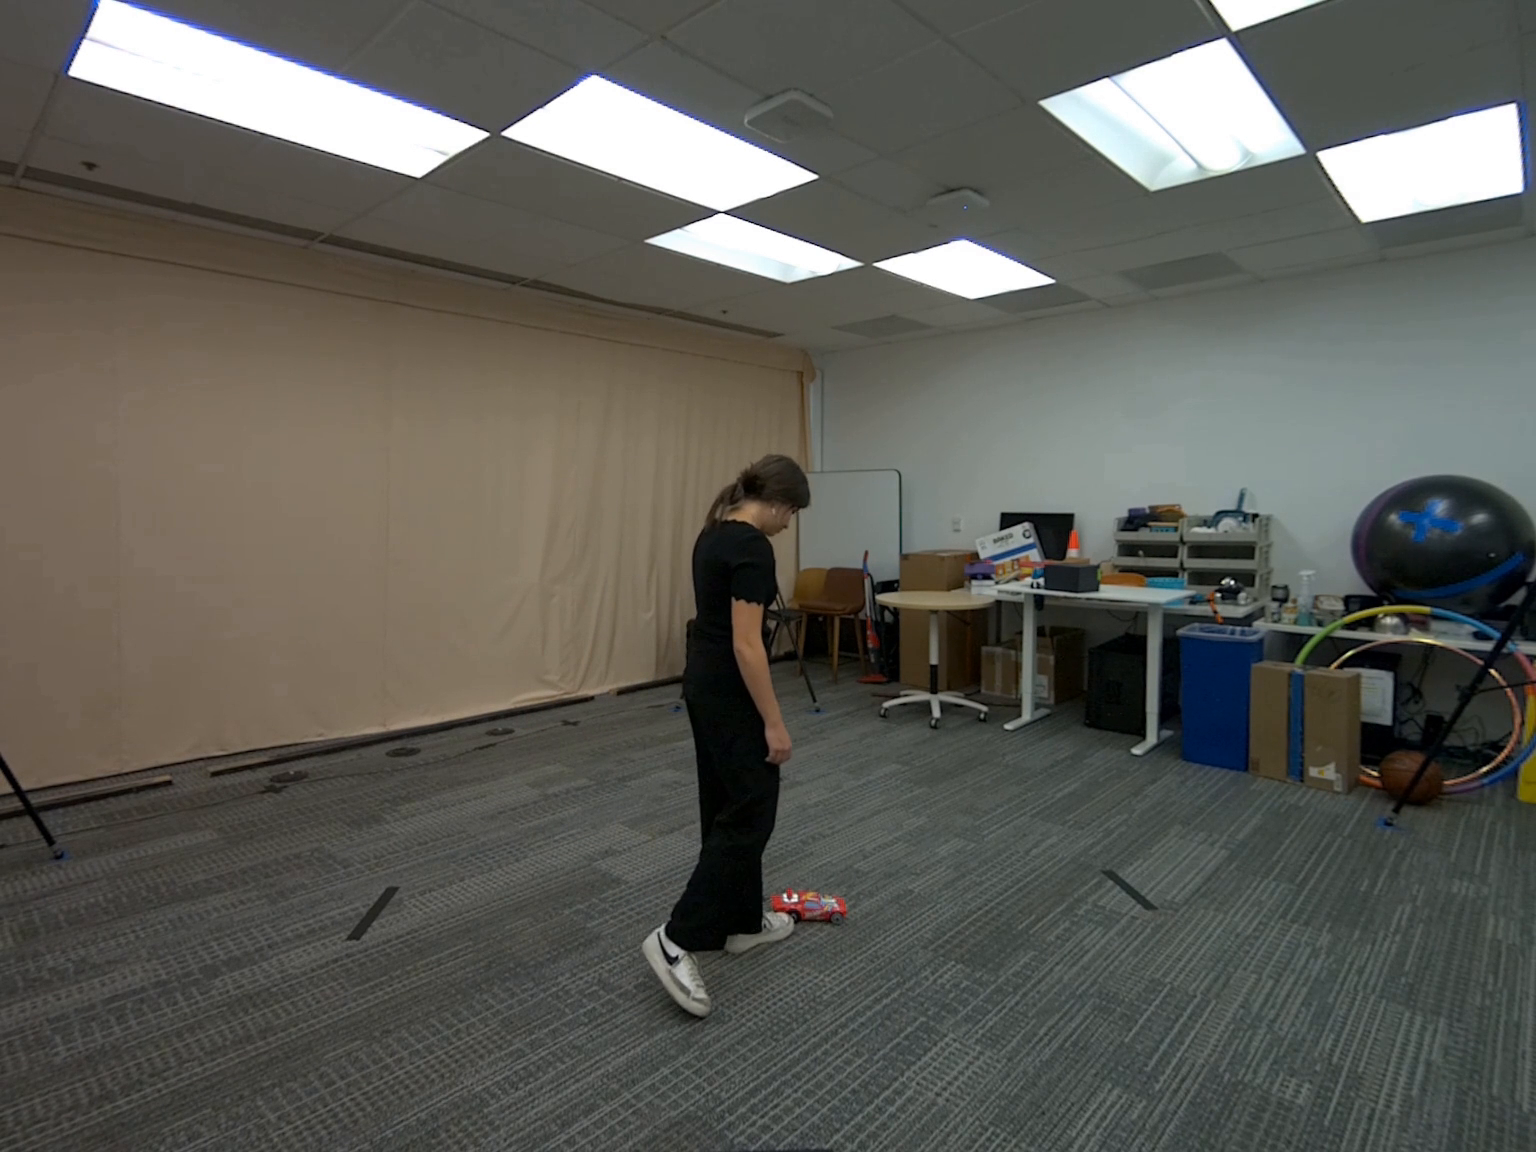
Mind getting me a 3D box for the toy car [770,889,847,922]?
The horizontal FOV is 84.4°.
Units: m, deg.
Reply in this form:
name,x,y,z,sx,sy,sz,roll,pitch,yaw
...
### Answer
name,x,y,z,sx,sy,sz,roll,pitch,yaw
toy car,0.137,1.124,2.851,0.255,0.083,0.130,11,3,3
